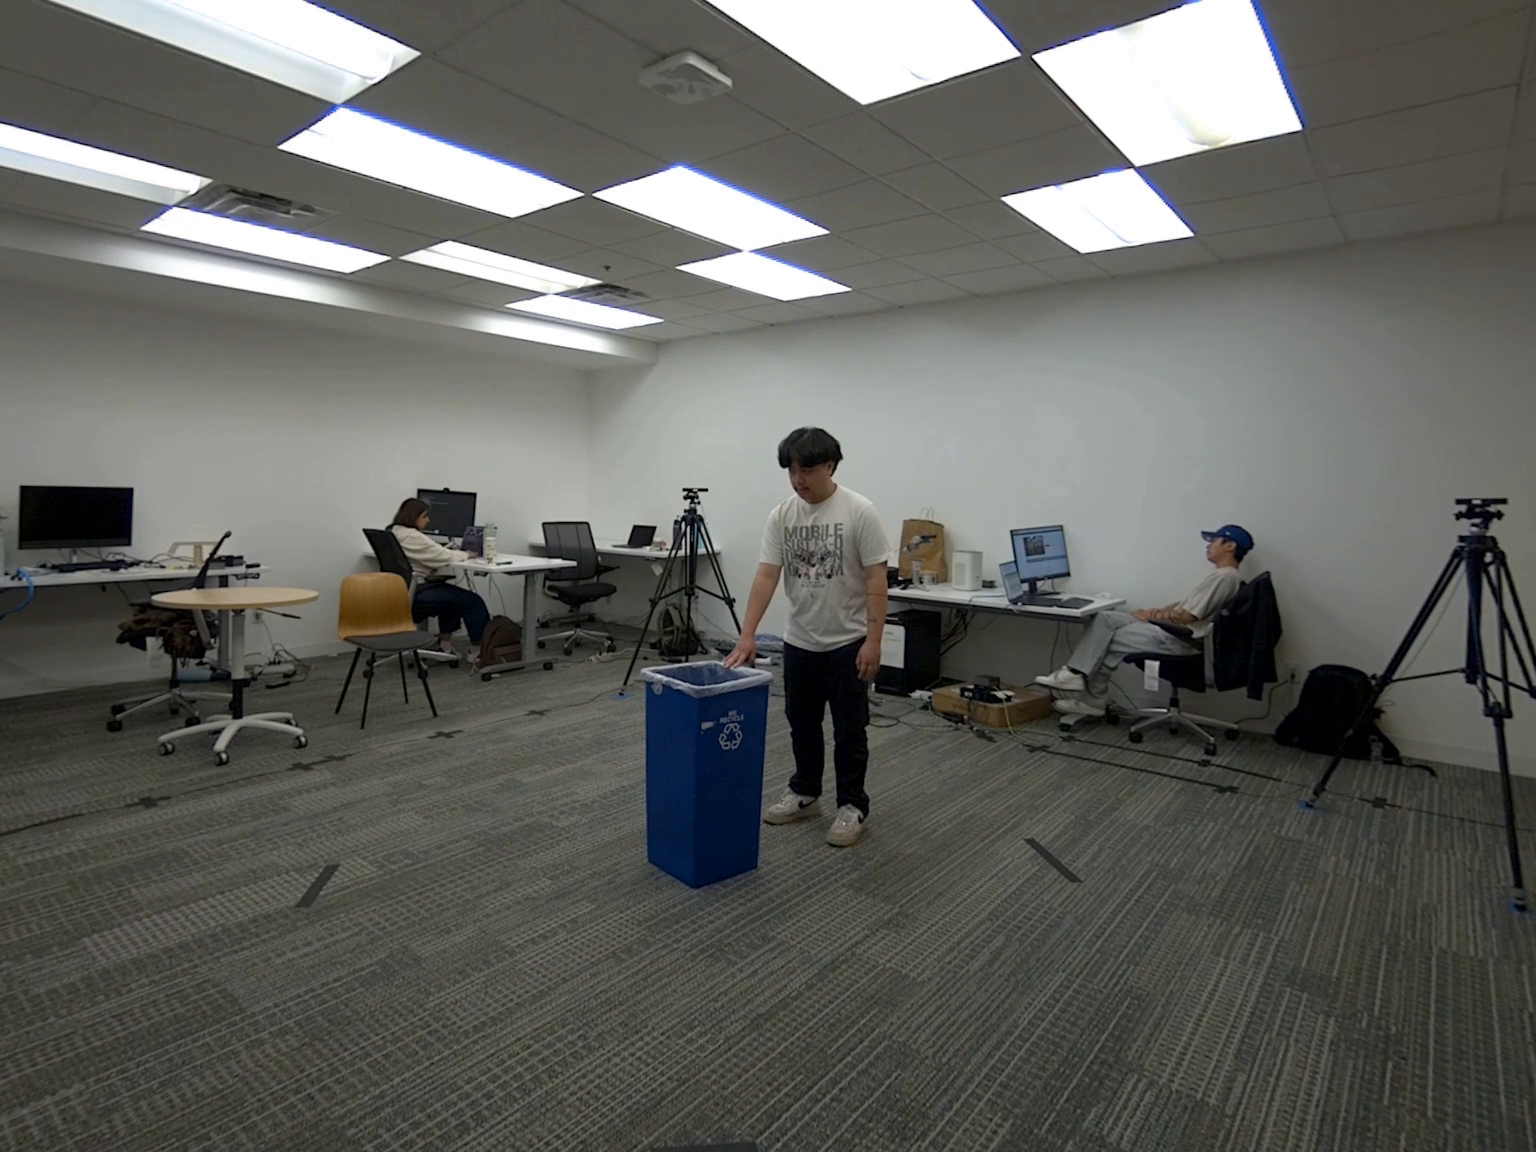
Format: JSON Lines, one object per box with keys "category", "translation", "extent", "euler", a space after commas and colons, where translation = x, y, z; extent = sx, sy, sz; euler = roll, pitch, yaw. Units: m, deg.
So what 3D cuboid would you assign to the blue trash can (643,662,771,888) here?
{"category": "blue trash can", "translation": [-0.241, 0.708, 3.144], "extent": [0.363, 0.711, 0.391], "euler": [-2, 4, -41]}
